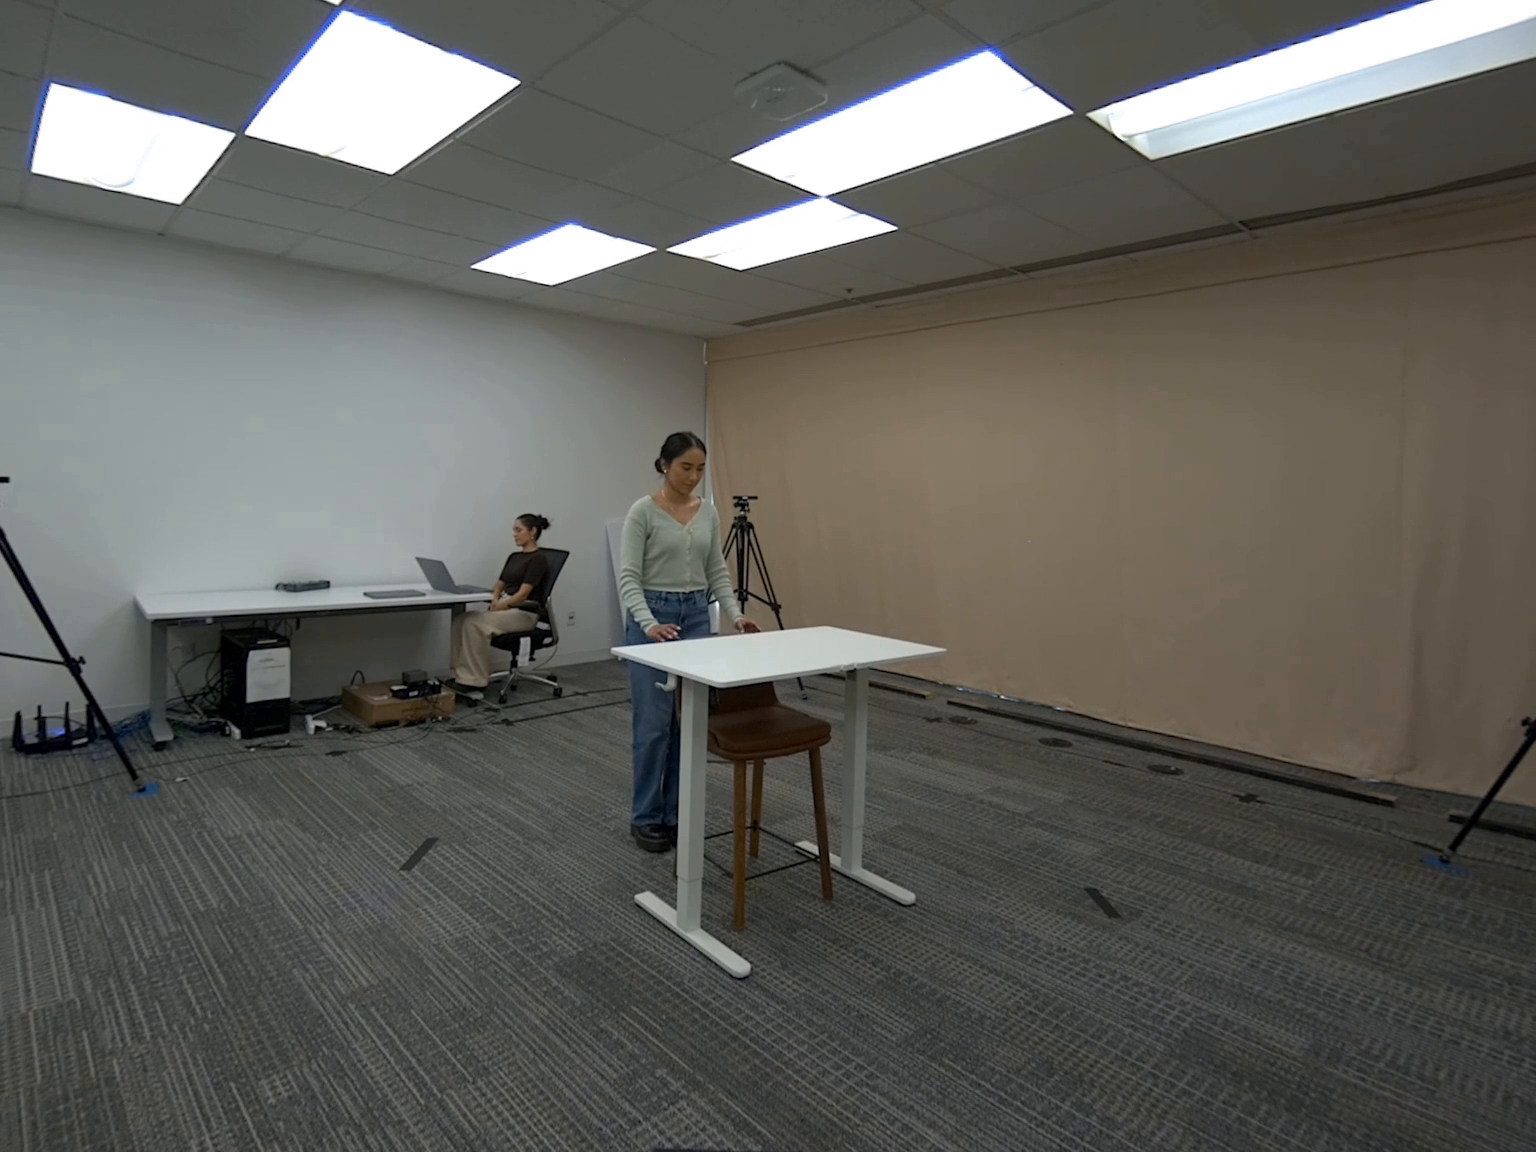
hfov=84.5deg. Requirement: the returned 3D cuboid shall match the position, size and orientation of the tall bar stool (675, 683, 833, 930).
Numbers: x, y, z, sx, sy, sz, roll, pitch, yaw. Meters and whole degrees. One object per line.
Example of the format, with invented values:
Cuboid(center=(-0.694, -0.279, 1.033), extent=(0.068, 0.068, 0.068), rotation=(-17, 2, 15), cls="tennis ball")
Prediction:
Cuboid(center=(-0.068, 0.682, 2.982), extent=(0.446, 0.889, 0.478), rotation=(-1, 2, -35), cls="tall bar stool")
